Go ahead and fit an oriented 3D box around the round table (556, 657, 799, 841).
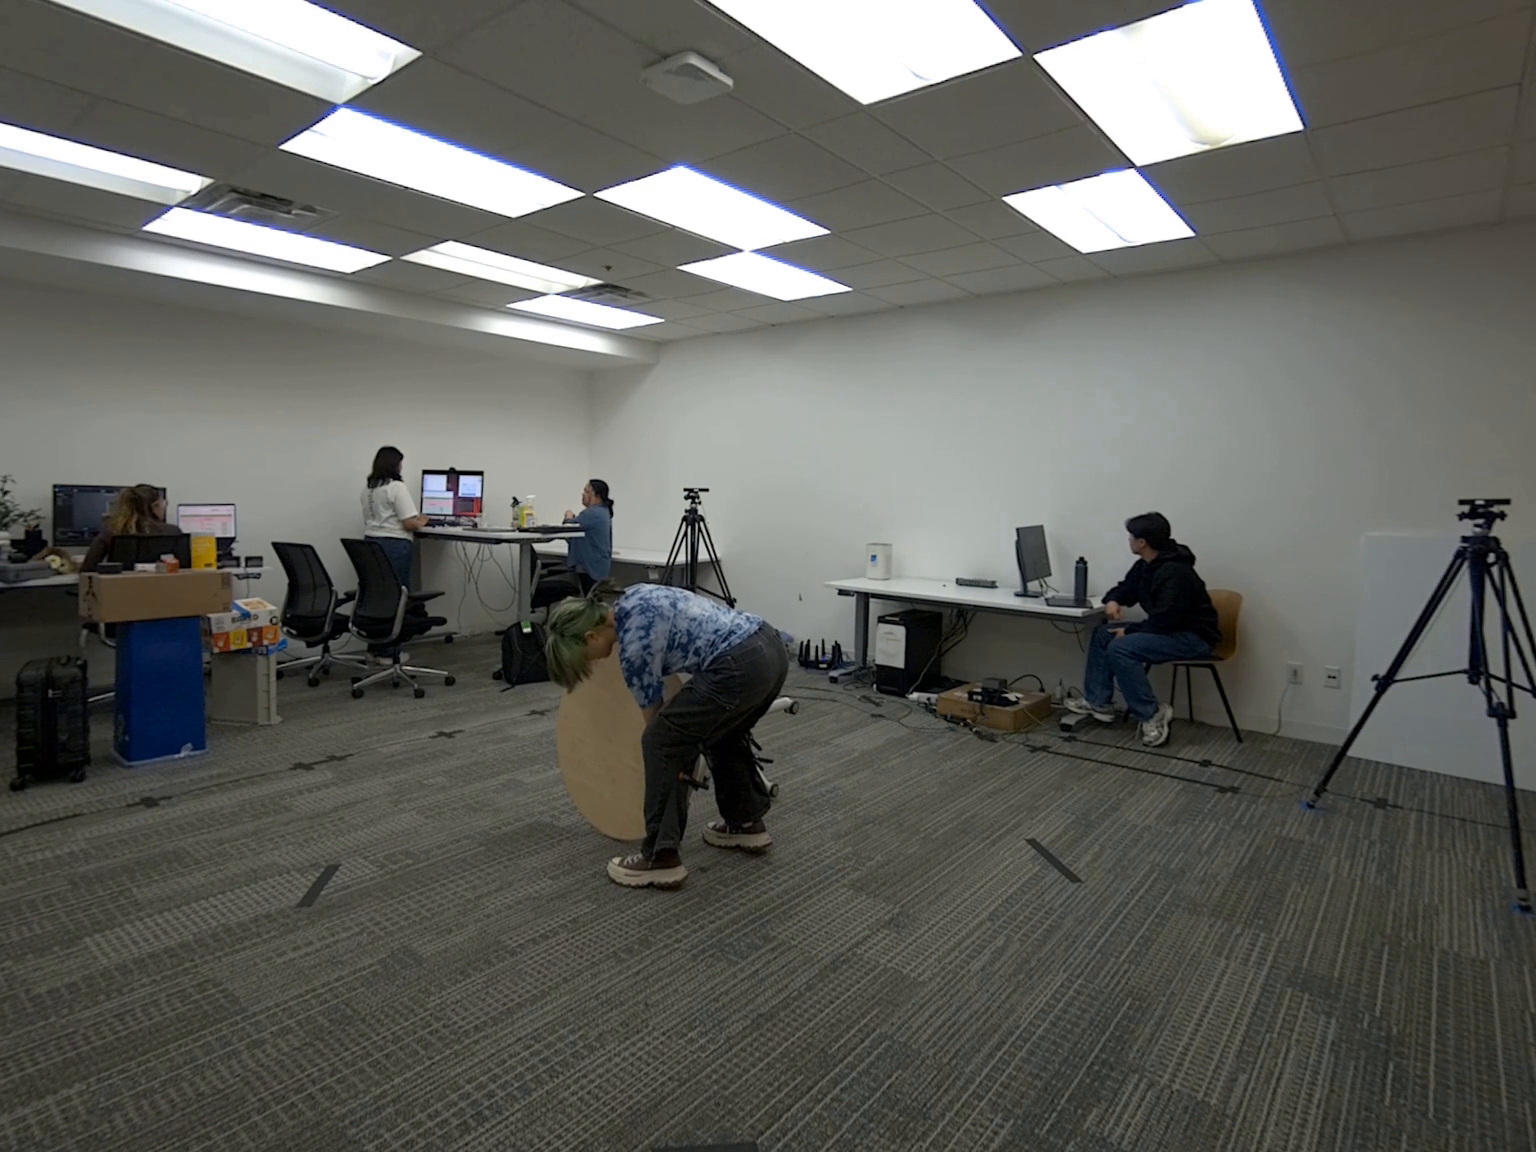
[{"bbox_3d":[-0.377,0.658,3.683,0.789,0.765,0.767,4,-2,37],"label":"round table"}]
